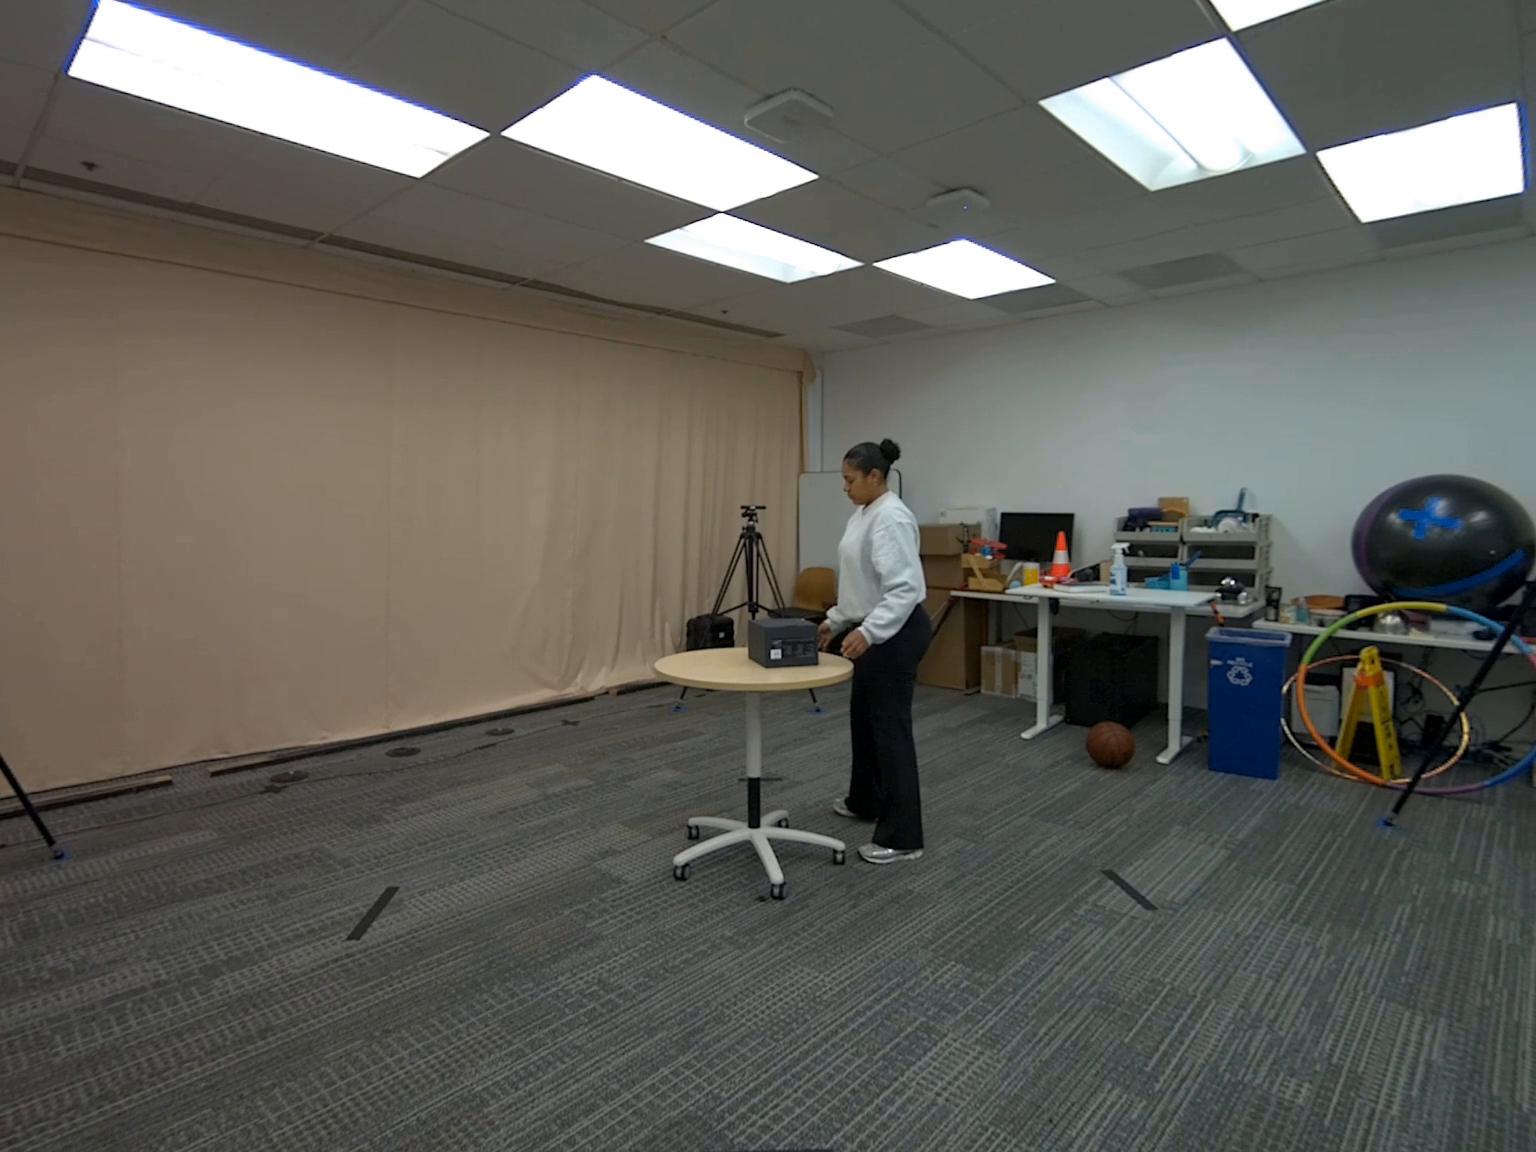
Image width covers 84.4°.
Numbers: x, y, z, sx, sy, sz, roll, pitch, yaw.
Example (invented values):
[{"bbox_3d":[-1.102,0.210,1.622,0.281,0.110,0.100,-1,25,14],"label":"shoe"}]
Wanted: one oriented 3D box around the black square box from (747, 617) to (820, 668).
[{"bbox_3d":[0.060,0.255,3.286,0.214,0.155,0.232,-1,3,-15],"label":"black square box"}]
